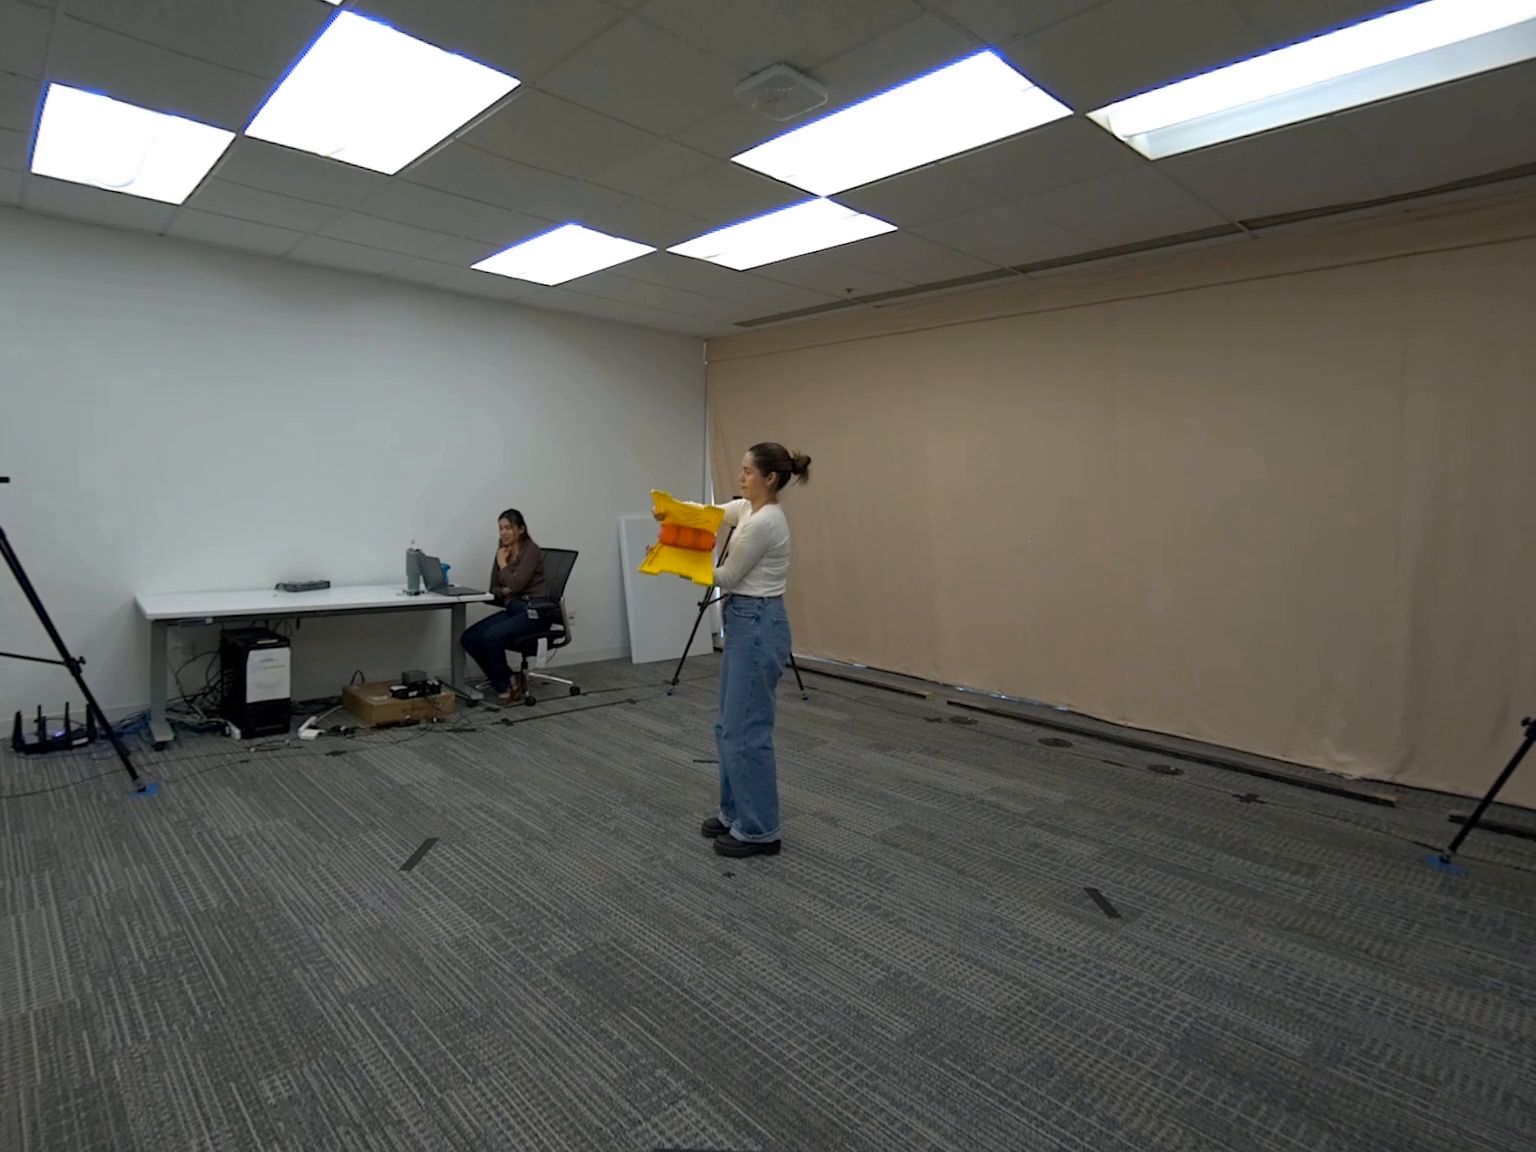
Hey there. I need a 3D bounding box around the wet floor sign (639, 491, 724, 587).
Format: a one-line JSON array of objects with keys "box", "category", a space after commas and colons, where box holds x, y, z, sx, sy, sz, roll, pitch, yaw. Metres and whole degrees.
[{"box": [-0.353, -0.151, 3.384, 0.281, 0.289, 0.648, 12, 2, -4], "category": "wet floor sign"}]
